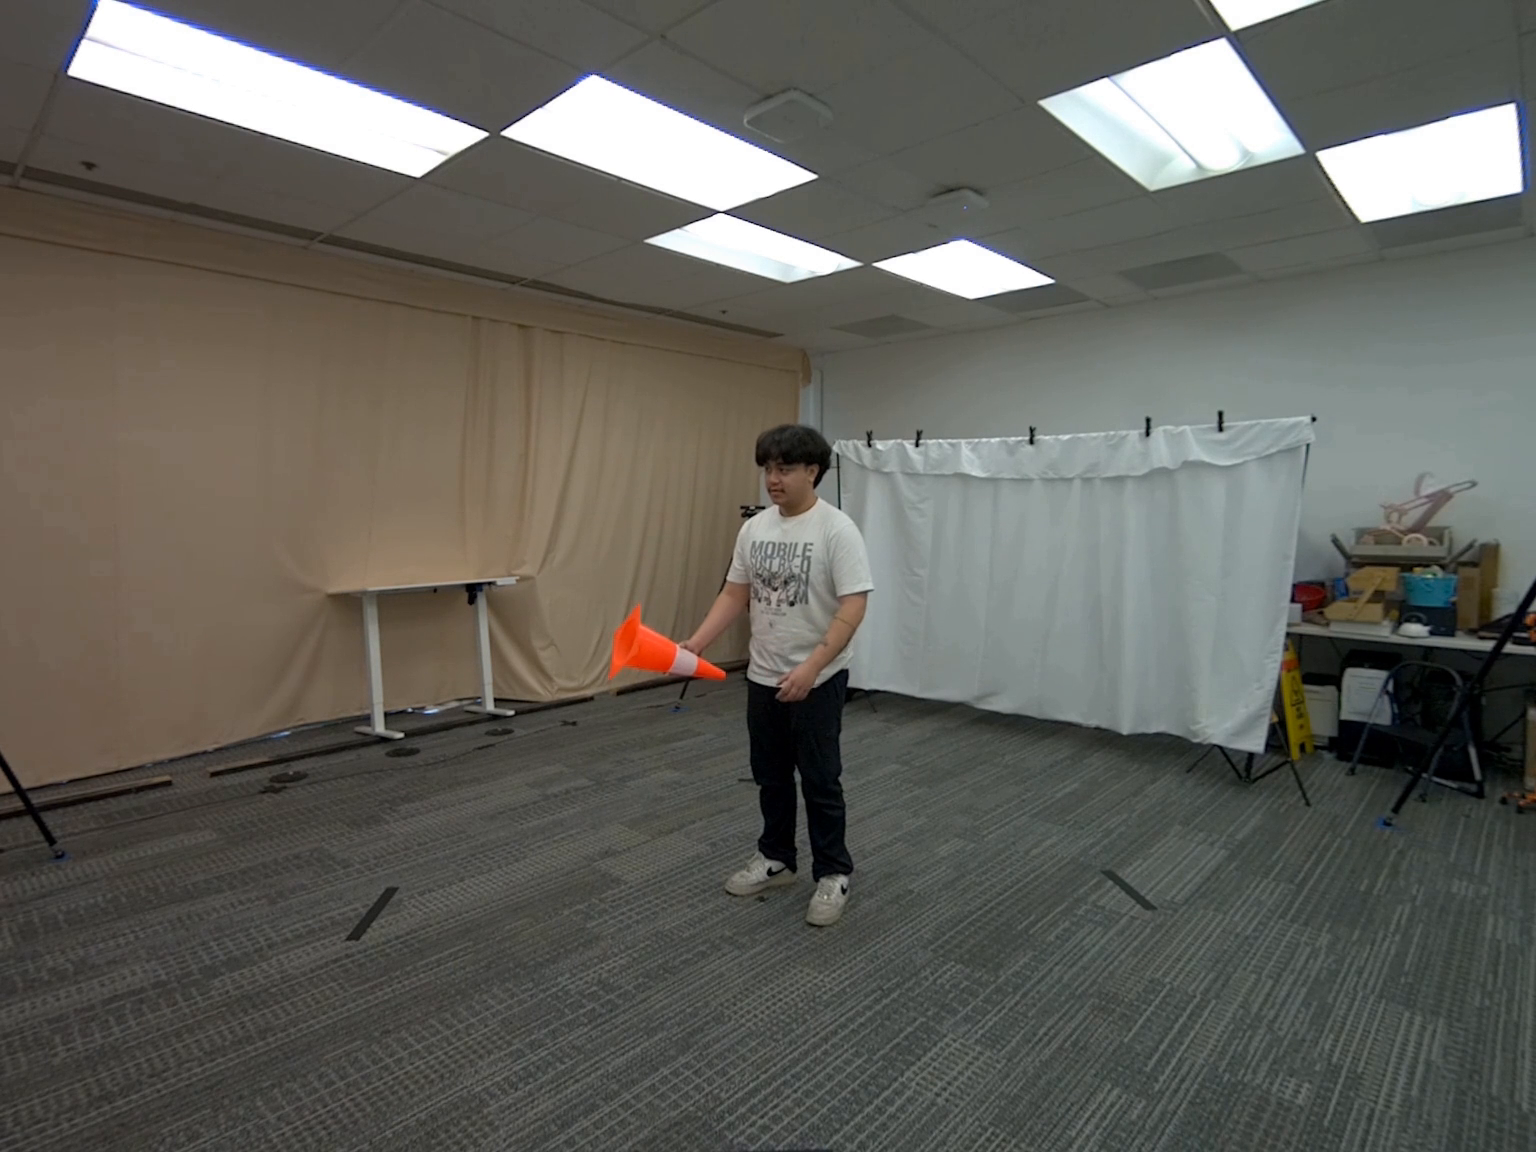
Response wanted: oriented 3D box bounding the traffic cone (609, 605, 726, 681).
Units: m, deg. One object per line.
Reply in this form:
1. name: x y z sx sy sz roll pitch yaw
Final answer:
1. traffic cone: -0.312 0.295 2.821 0.375 0.208 0.205 23 -41 -20
